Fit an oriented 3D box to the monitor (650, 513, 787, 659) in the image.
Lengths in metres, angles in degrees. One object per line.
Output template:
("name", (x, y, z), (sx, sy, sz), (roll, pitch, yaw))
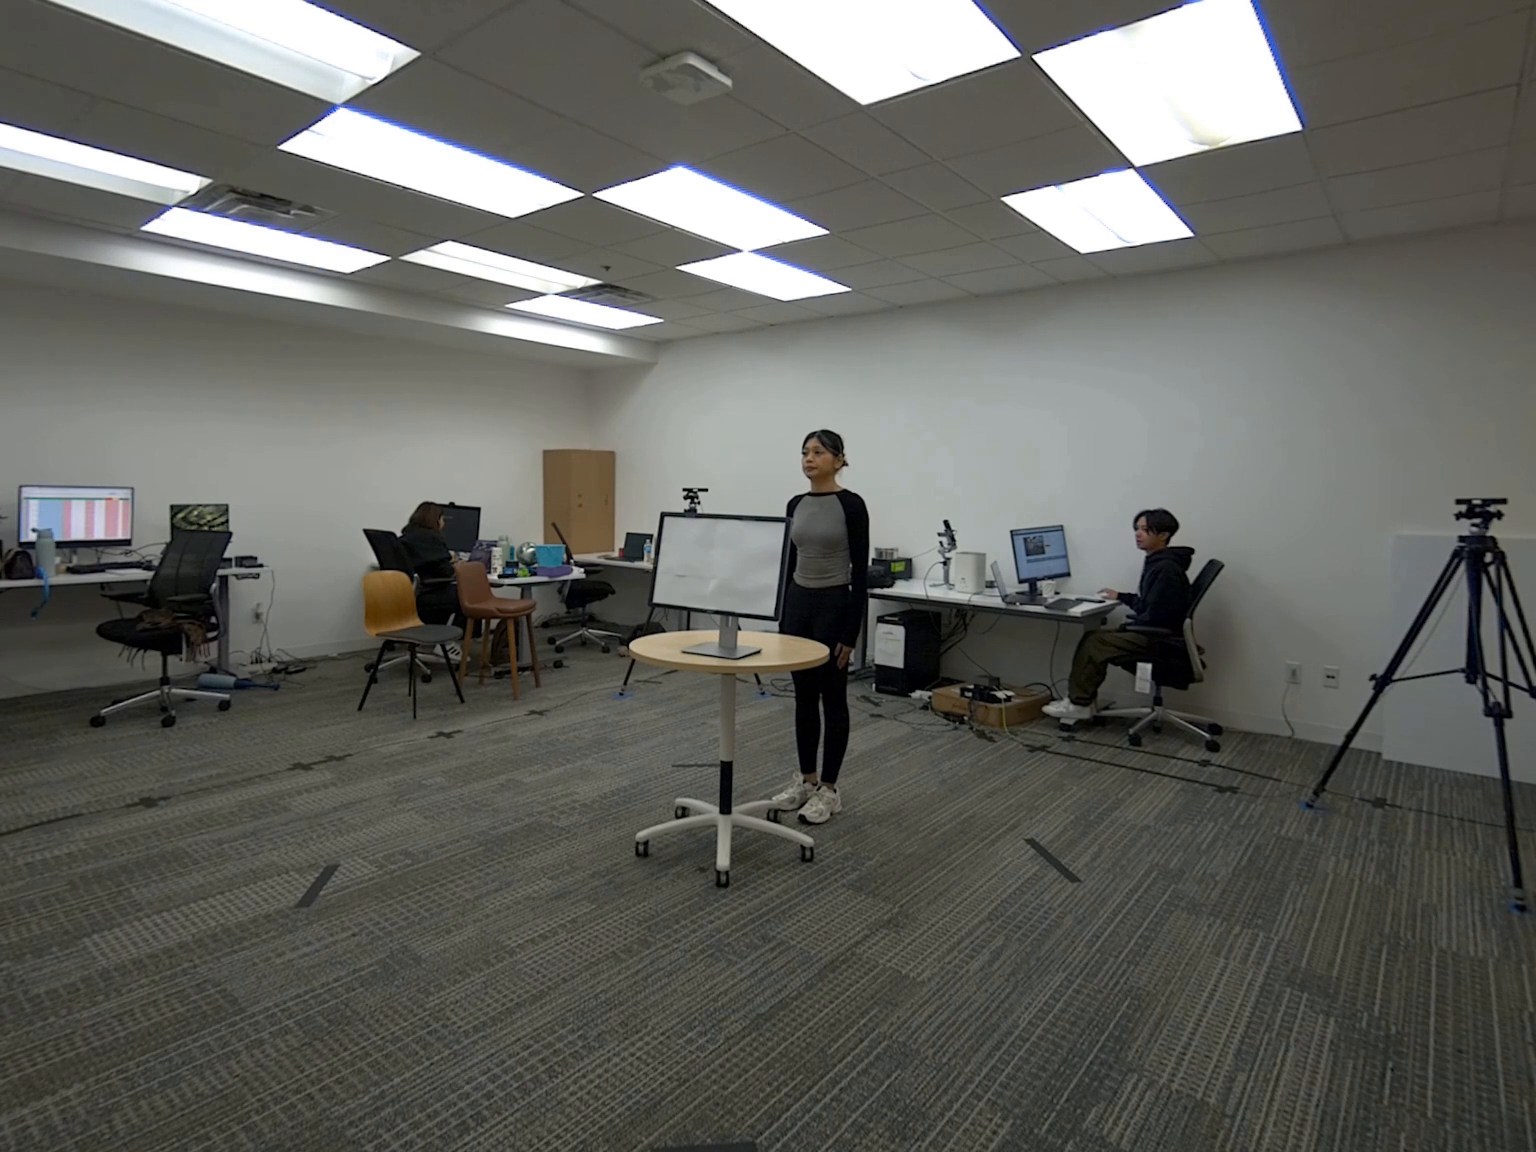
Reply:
("monitor", (-0.175, 0.036, 3.119), (0.555, 0.520, 0.183), (4, 7, 30))
